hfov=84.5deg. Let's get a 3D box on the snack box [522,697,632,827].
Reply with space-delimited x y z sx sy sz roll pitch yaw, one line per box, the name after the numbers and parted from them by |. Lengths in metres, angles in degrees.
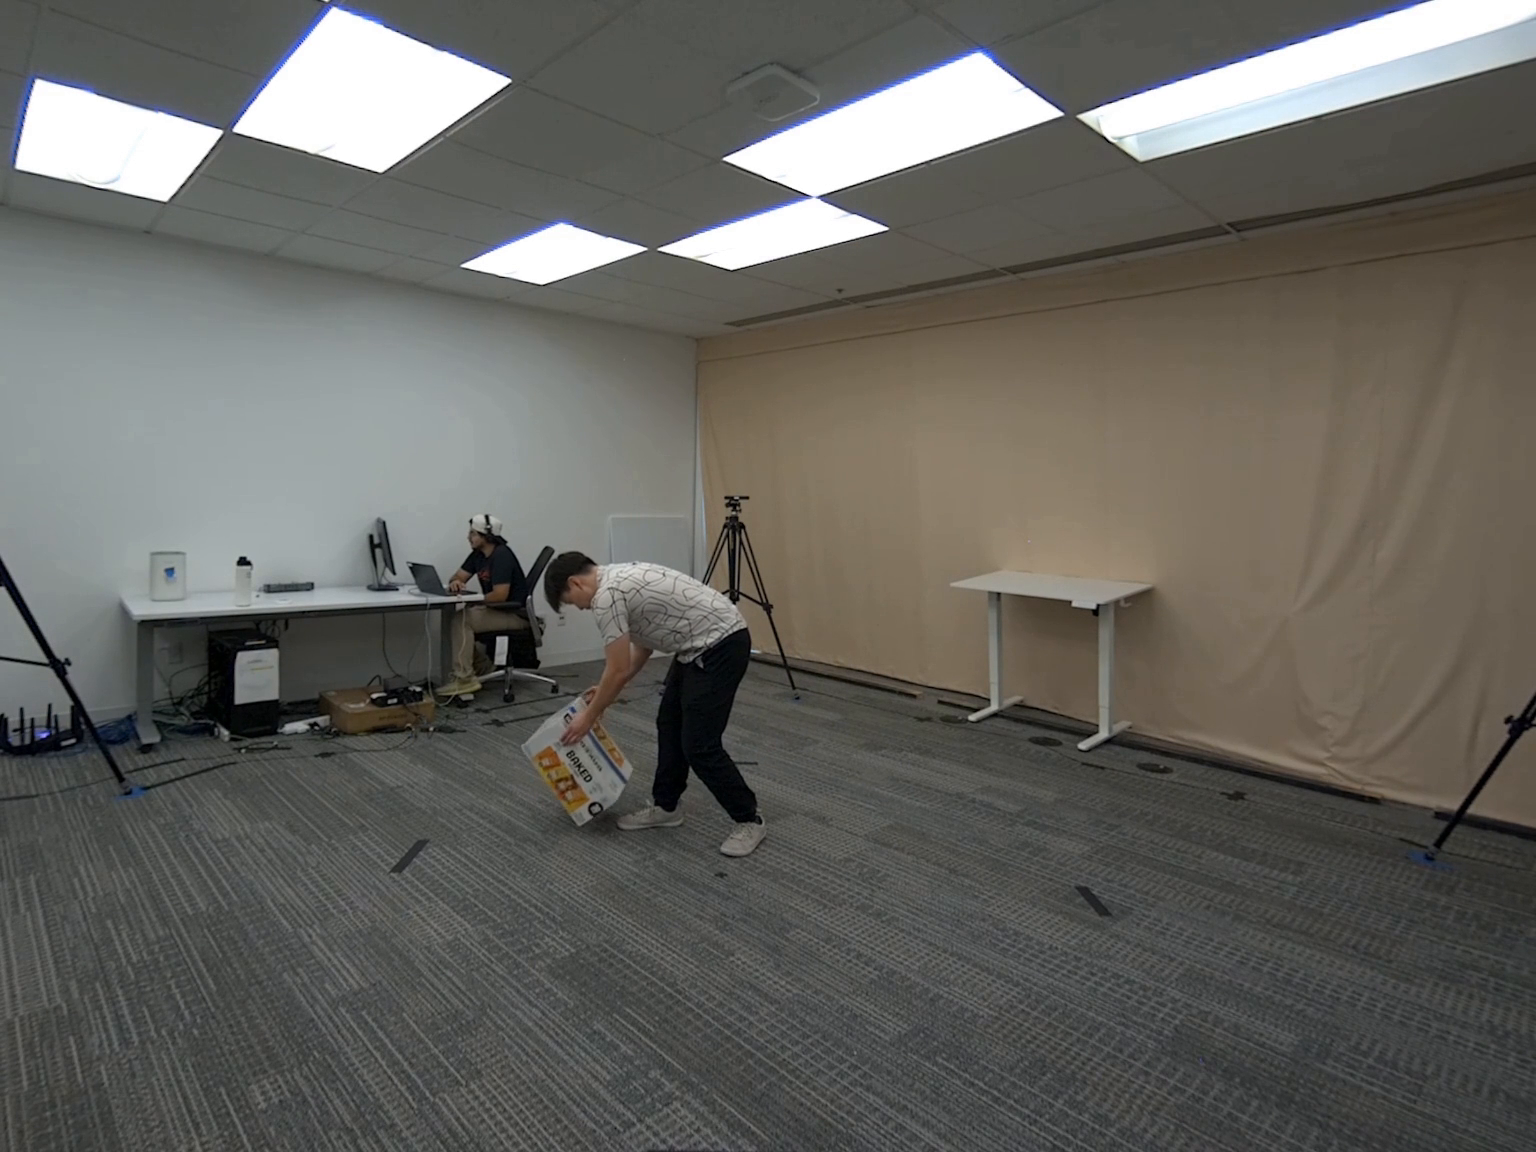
-0.803 0.770 3.564 0.206 0.404 0.341 -35 4 7 | snack box
